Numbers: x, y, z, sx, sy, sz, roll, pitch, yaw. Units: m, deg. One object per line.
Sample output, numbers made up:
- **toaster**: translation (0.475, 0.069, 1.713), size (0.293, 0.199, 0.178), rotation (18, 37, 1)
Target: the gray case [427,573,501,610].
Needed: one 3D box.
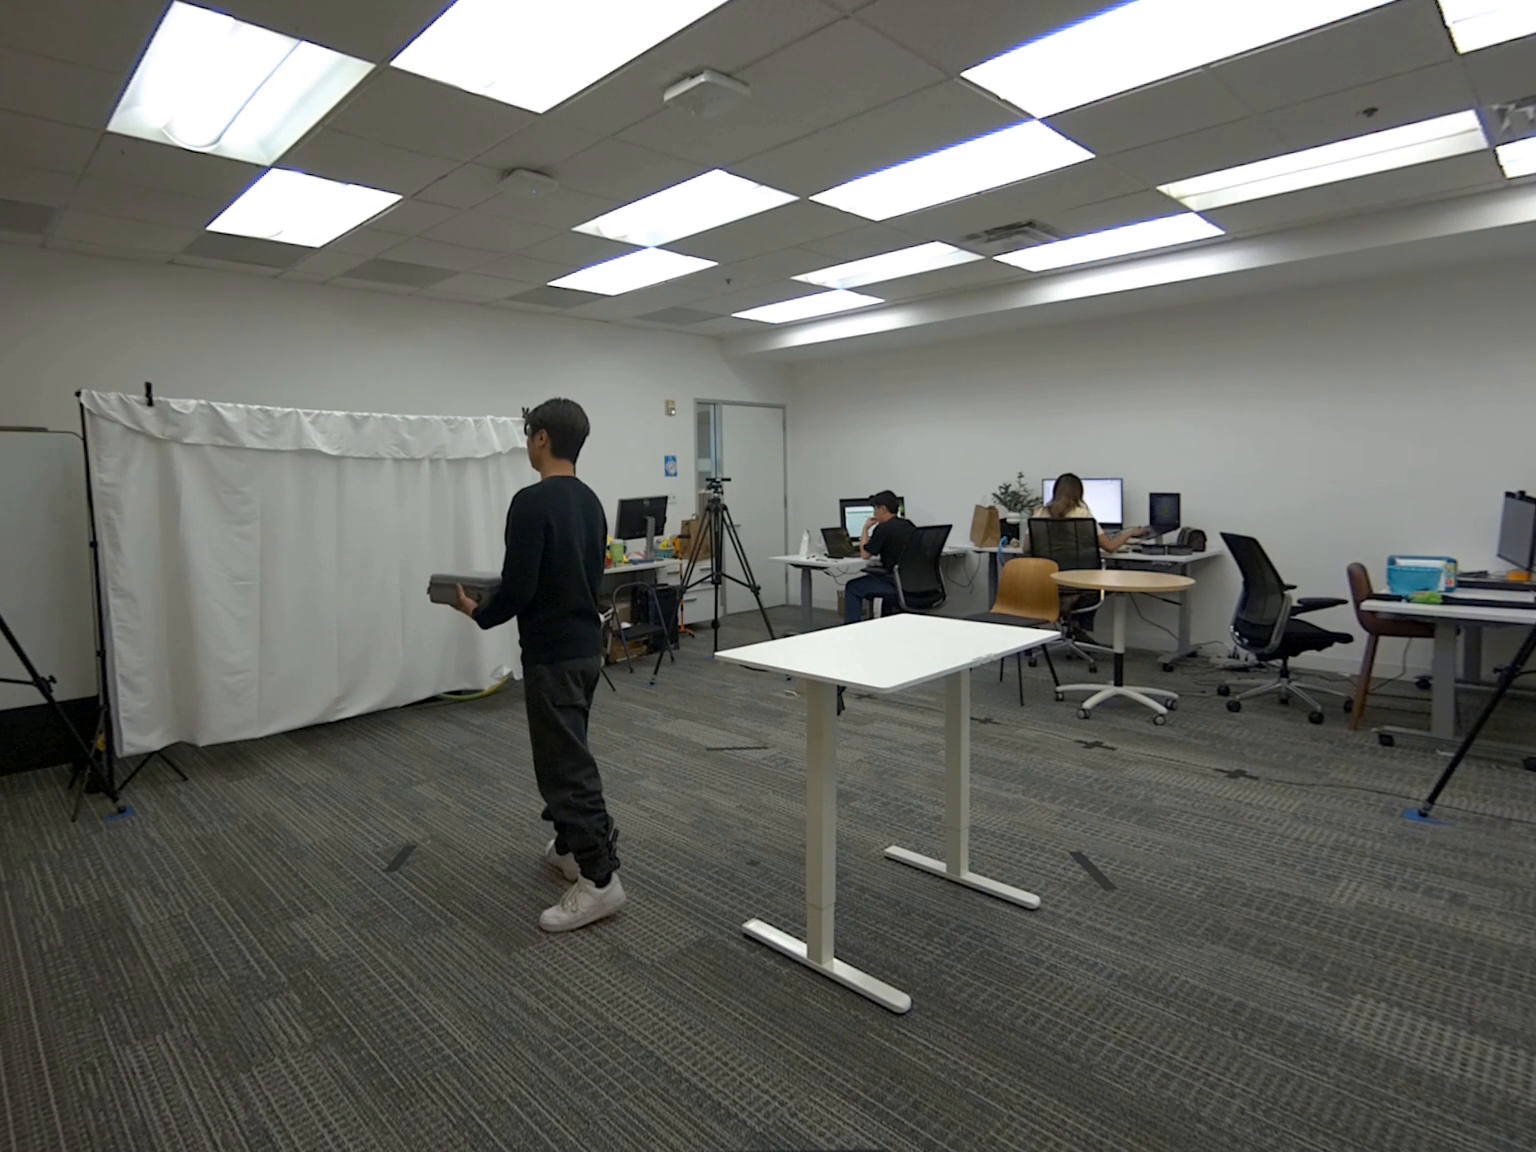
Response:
- **gray case**: translation (-1.002, 0.040, 2.945), size (0.260, 0.104, 0.258), rotation (3, 3, 12)
